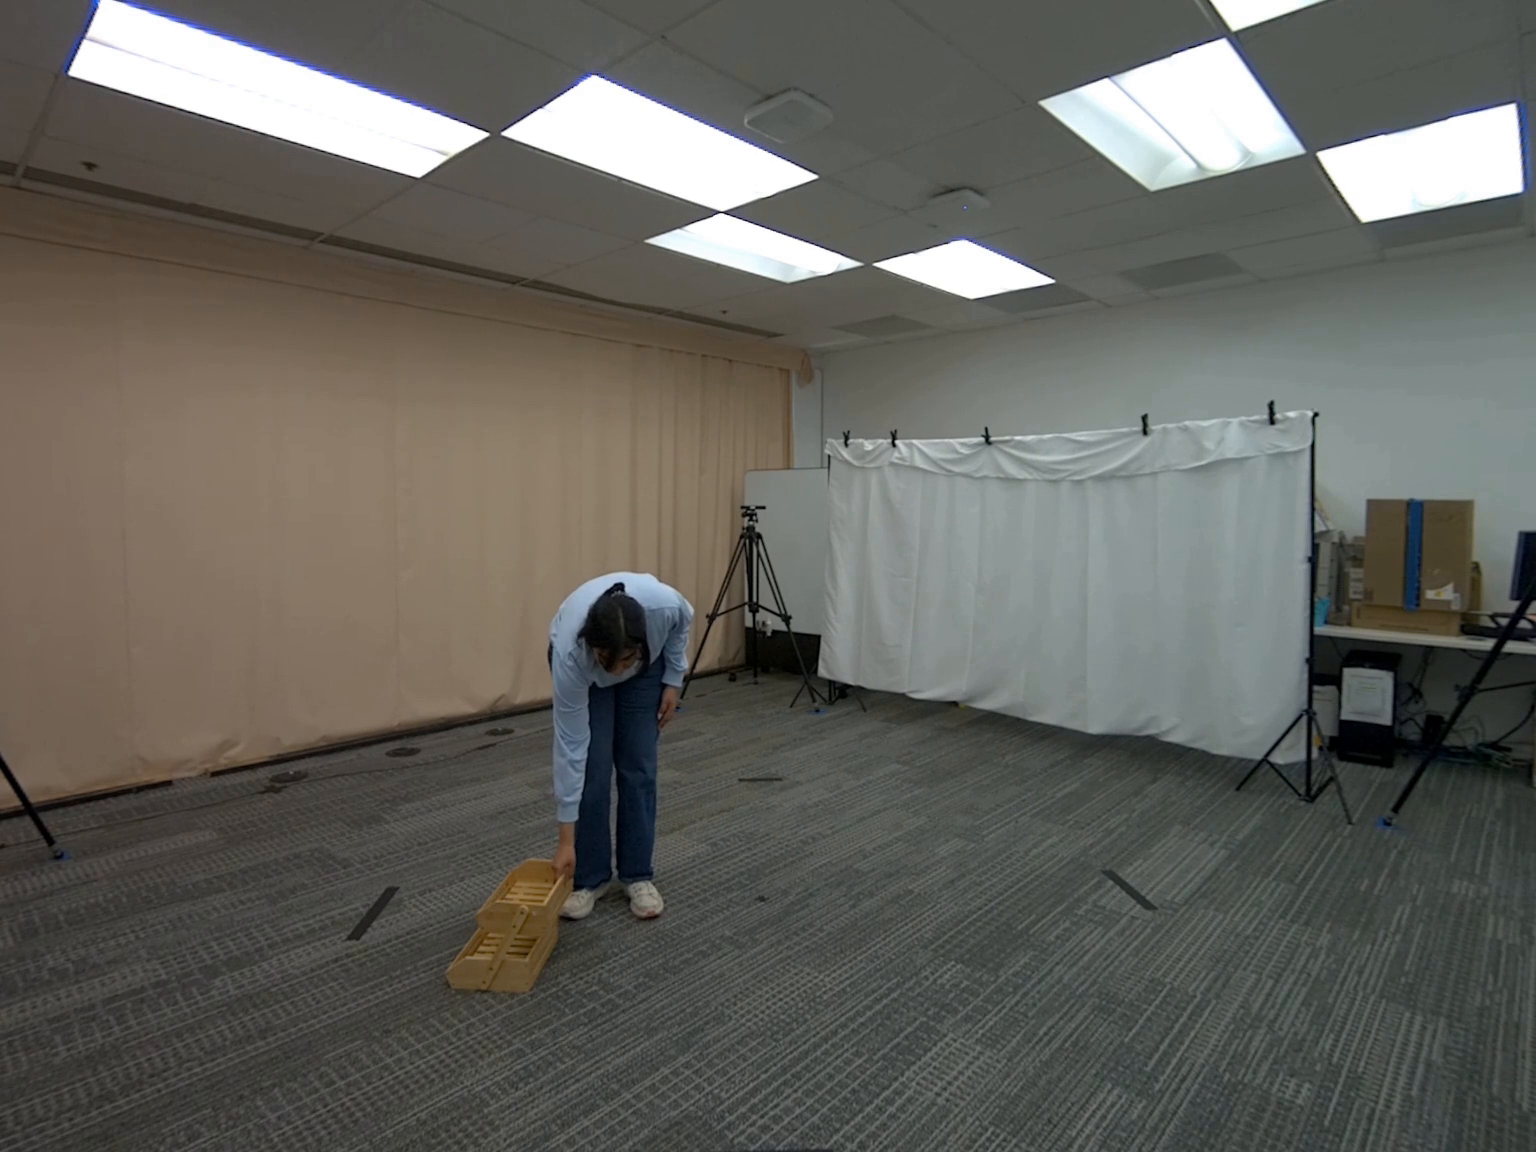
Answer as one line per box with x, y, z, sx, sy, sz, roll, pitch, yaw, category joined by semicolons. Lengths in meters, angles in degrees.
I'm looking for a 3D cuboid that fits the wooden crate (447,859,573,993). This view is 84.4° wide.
-0.786;1.054;2.564;0.304;0.273;0.323;1;4;4;wooden crate
